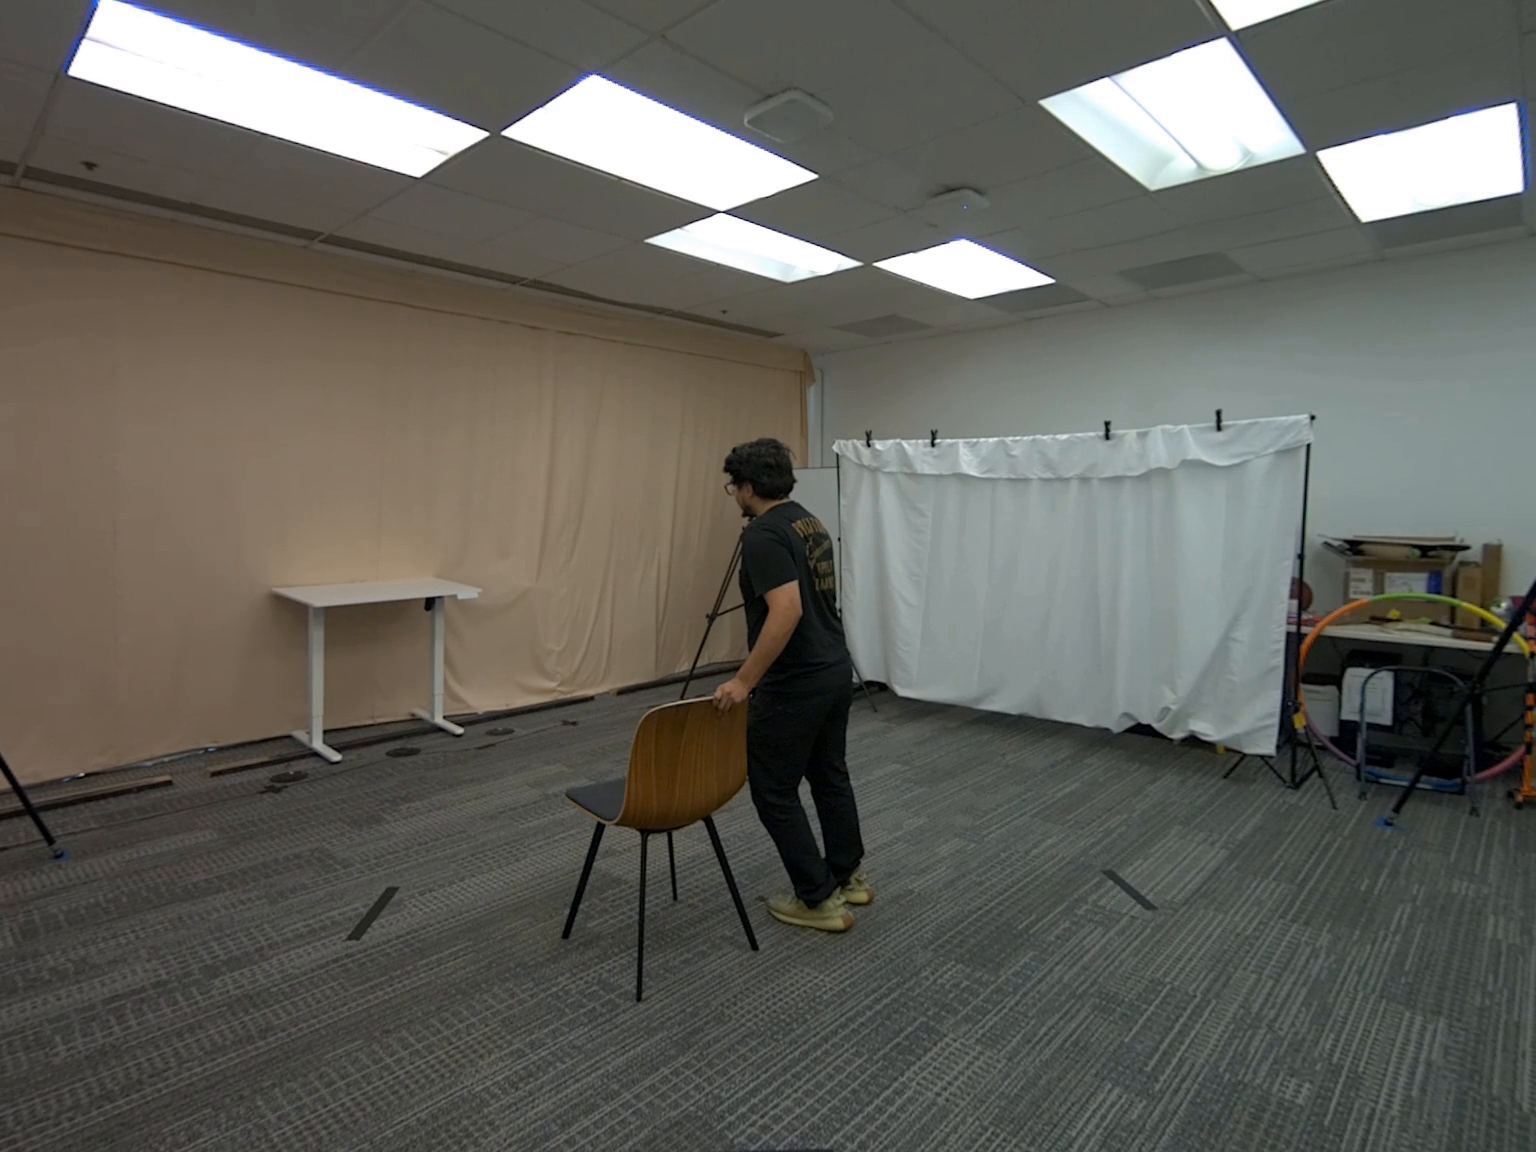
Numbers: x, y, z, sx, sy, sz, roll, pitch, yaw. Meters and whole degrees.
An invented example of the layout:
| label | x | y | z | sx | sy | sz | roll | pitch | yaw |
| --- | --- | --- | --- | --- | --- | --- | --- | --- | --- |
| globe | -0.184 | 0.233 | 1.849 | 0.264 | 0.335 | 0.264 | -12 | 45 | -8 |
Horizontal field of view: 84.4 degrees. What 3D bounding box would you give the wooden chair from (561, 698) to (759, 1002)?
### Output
| label | x | y | z | sx | sy | sz | roll | pitch | yaw |
| --- | --- | --- | --- | --- | --- | --- | --- | --- | --- |
| wooden chair | -0.356 | 0.749 | 2.651 | 0.463 | 0.874 | 0.541 | -2 | 8 | -40 |
